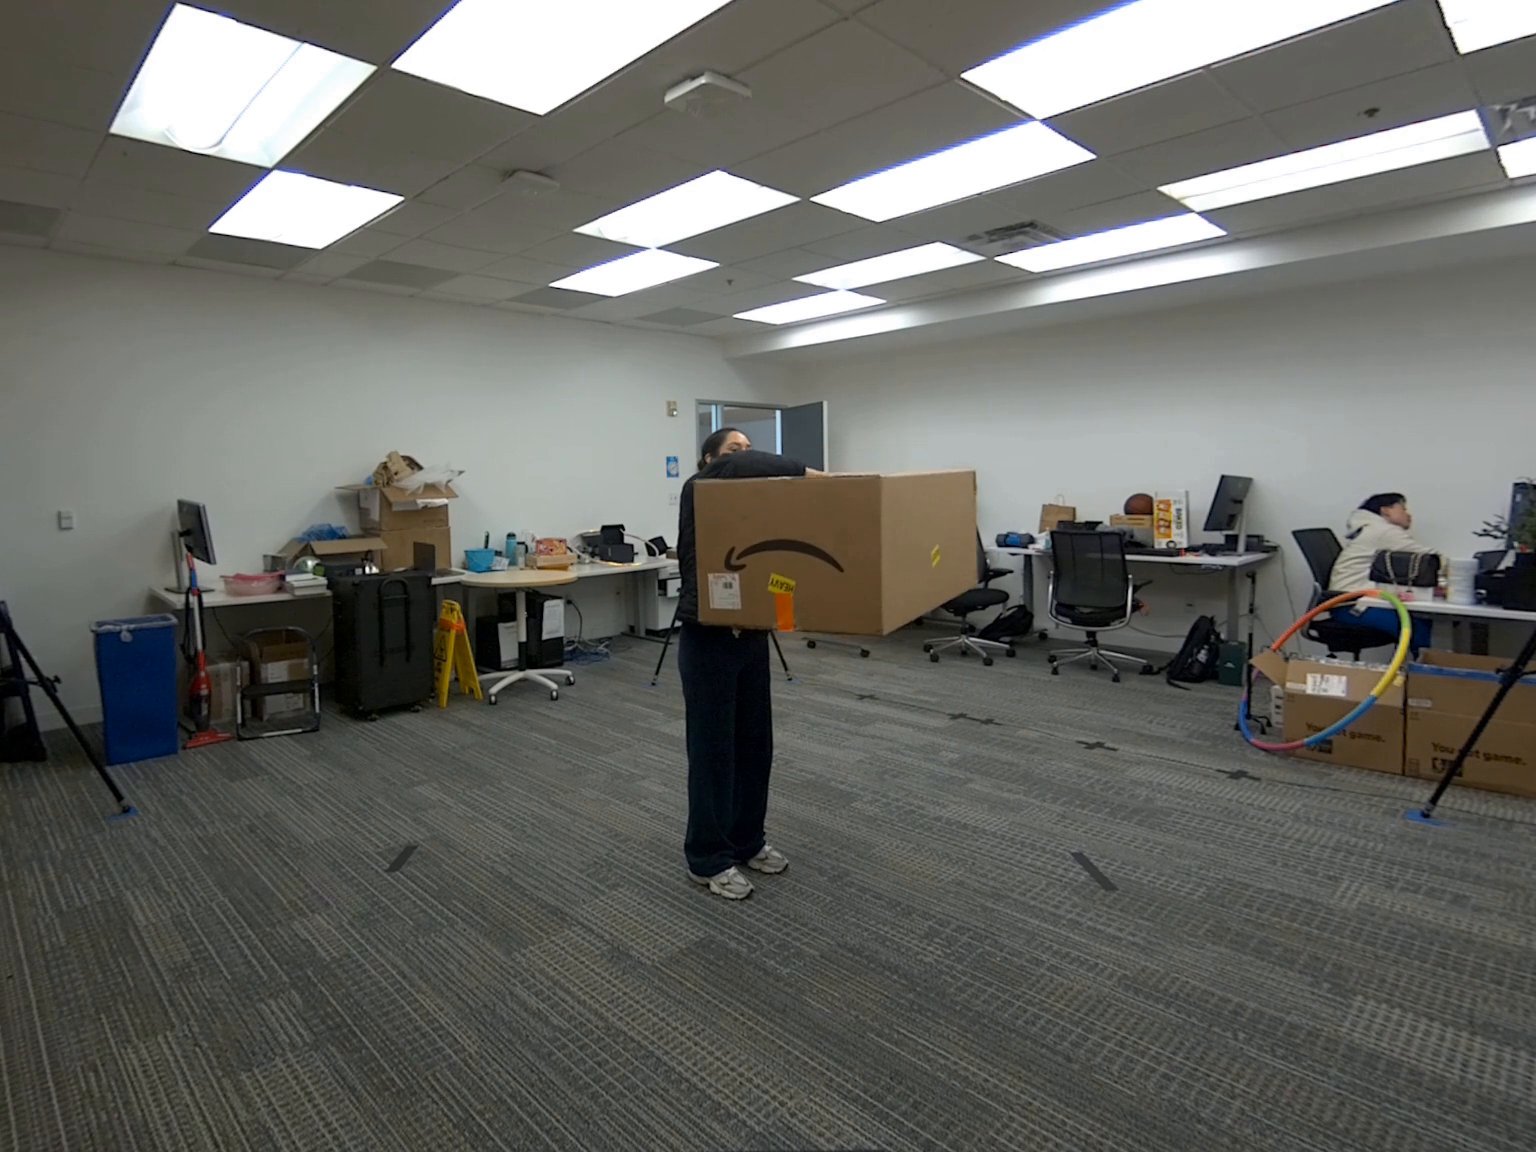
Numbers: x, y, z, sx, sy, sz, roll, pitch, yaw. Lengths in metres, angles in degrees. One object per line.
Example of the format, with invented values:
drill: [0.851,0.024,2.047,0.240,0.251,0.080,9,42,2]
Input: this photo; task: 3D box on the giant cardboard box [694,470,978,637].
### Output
giant cardboard box: [0.272,-0.128,2.809,0.592,0.424,1.005,1,7,28]
